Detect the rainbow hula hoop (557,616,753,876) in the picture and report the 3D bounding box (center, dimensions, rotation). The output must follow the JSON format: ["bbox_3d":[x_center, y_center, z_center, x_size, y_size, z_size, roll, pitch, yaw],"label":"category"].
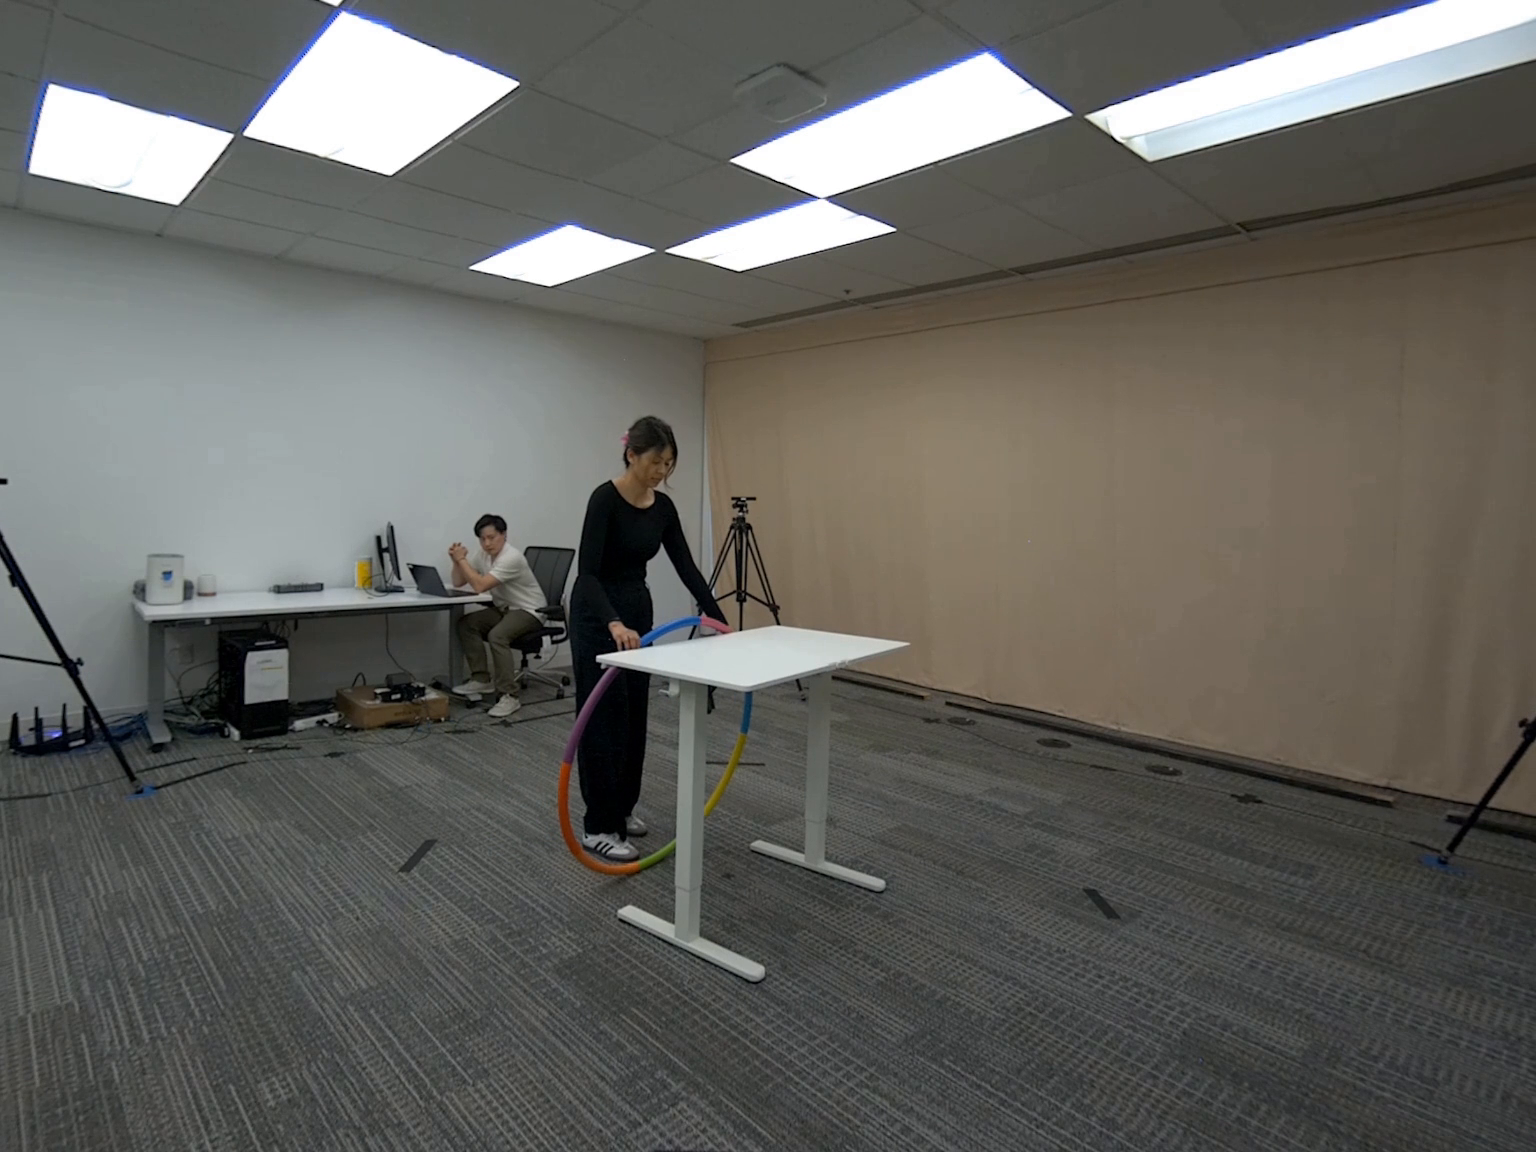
[{"bbox_3d":[-0.383,0.618,3.084,0.036,0.972,0.957,18,13,35],"label":"rainbow hula hoop"}]
